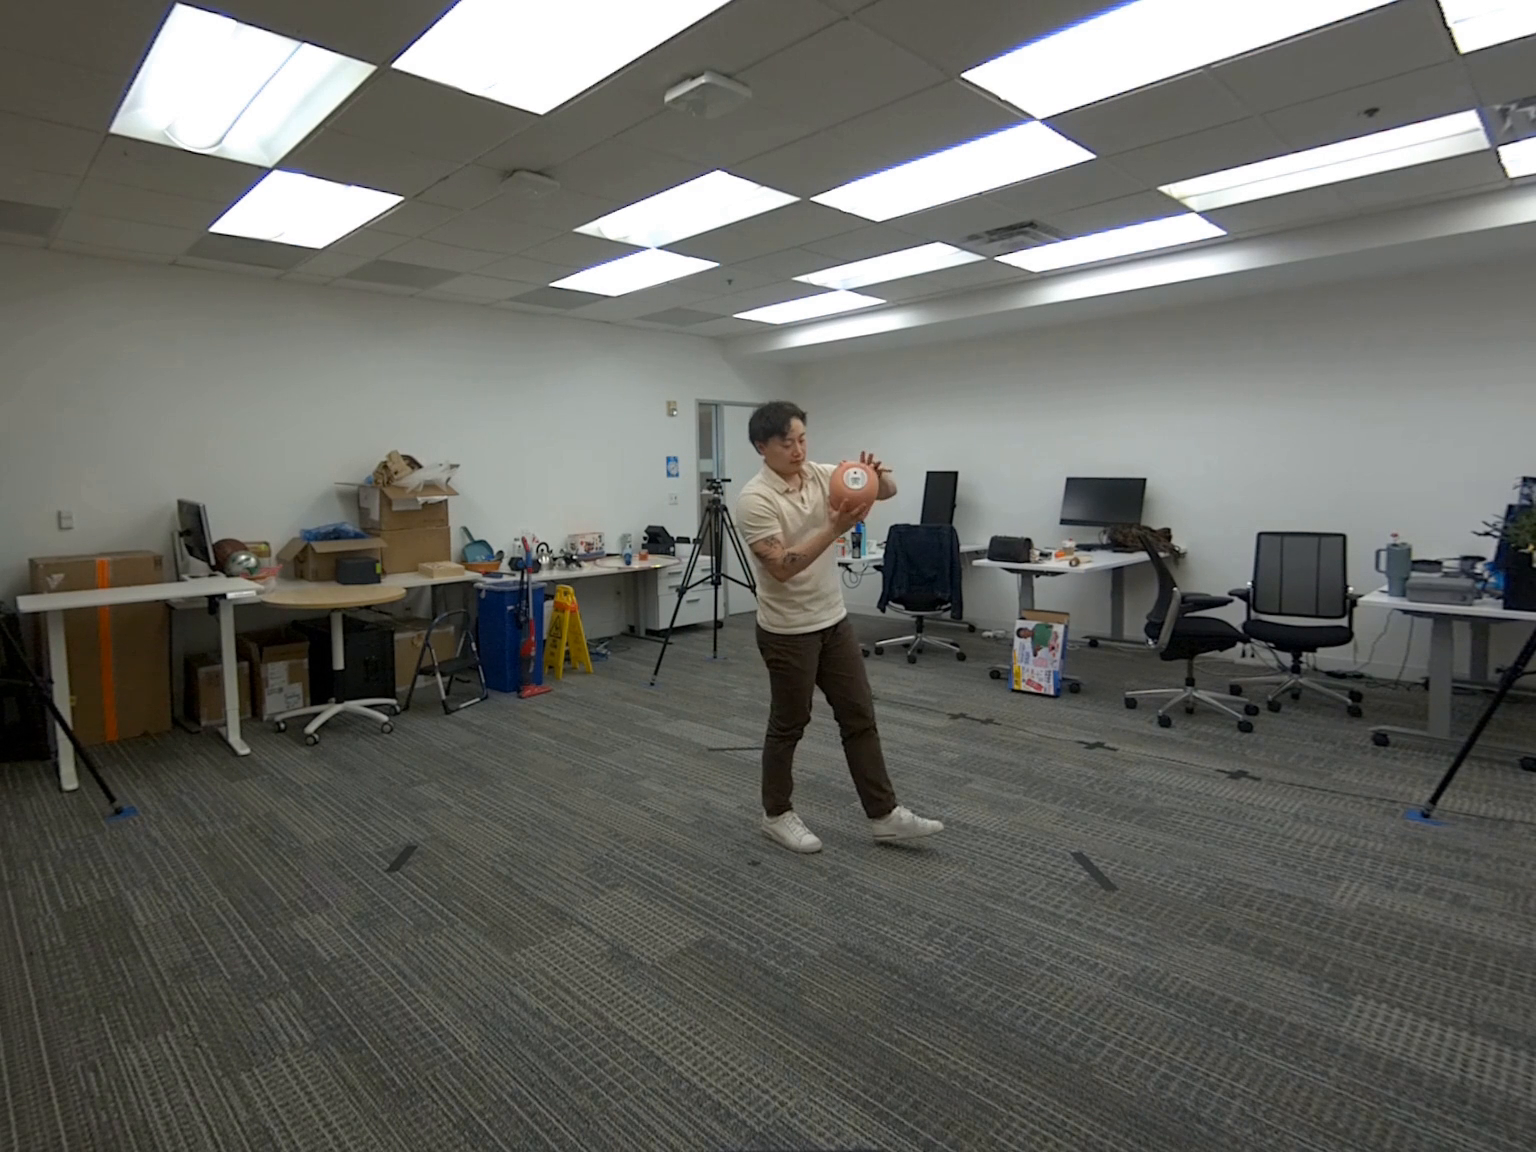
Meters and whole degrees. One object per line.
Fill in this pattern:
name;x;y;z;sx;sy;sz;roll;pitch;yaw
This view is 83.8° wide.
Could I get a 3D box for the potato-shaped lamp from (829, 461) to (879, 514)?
potato-shaped lamp;0.293;-0.285;2.905;0.165;0.173;0.195;8;-17;3
